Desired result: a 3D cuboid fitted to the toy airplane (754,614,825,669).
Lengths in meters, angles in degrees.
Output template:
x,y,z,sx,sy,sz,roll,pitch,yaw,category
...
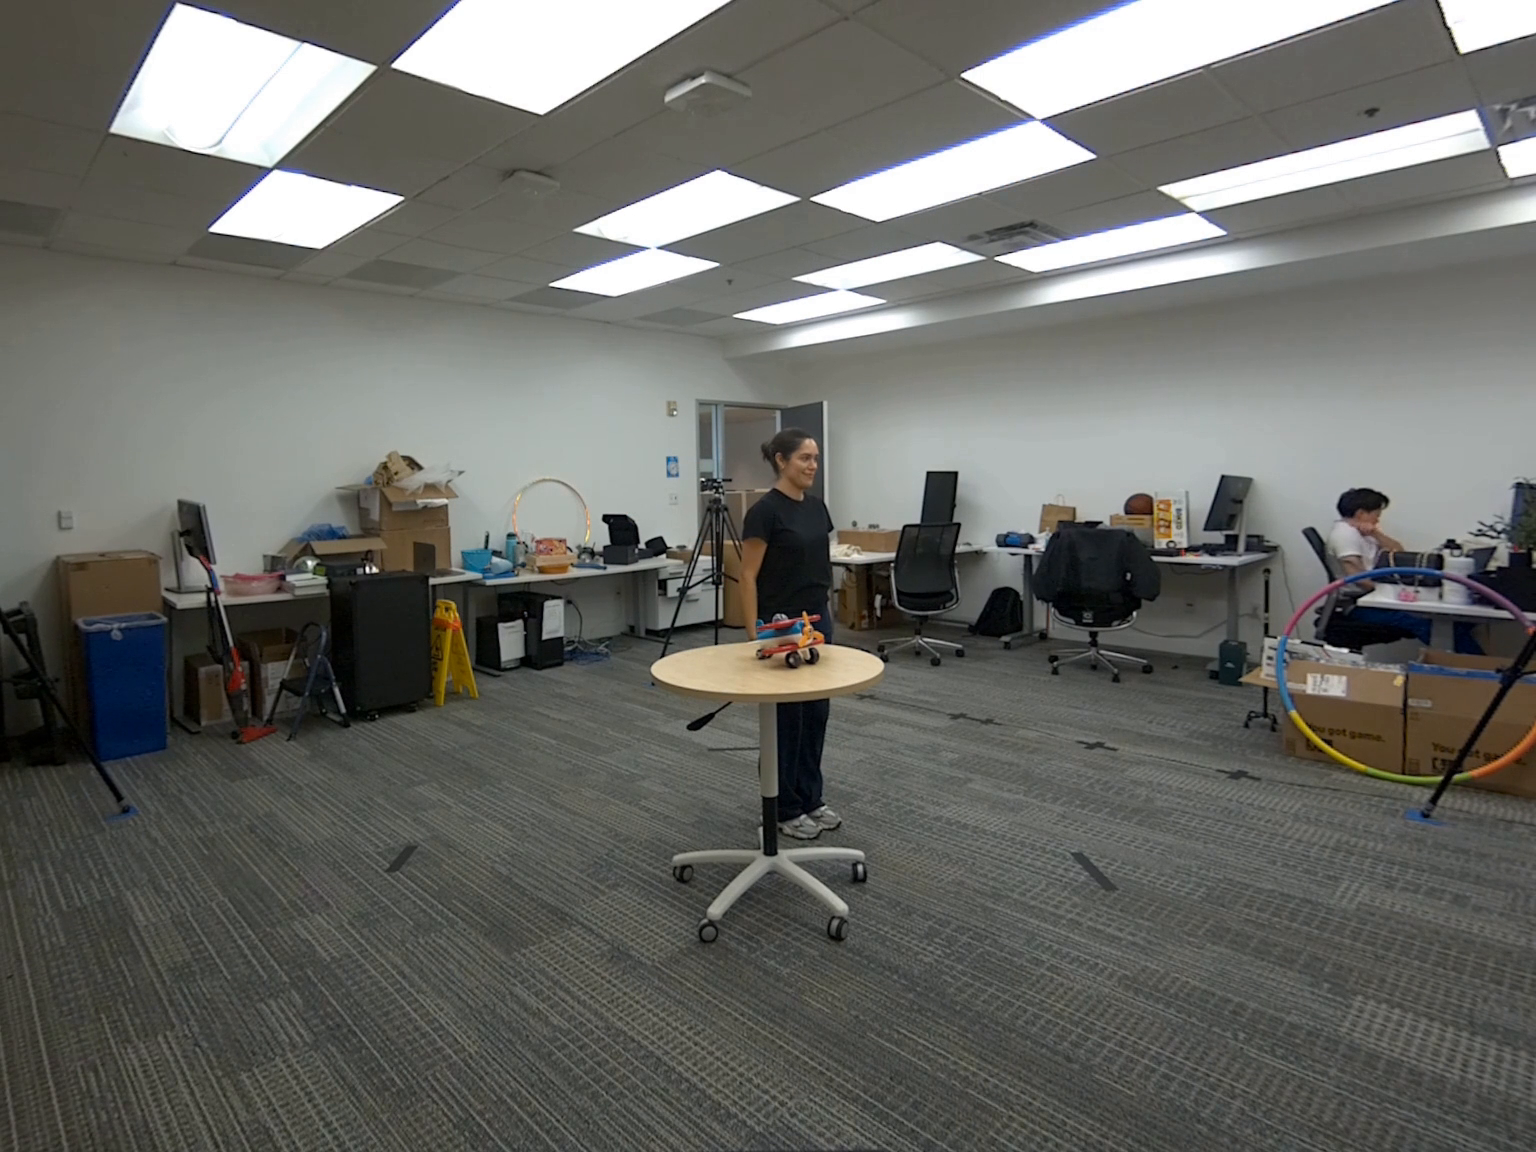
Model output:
x,y,z,sx,sy,sz,roll,pitch,yaw,category
0.039,0.216,2.854,0.264,0.156,0.247,2,6,19,toy airplane
